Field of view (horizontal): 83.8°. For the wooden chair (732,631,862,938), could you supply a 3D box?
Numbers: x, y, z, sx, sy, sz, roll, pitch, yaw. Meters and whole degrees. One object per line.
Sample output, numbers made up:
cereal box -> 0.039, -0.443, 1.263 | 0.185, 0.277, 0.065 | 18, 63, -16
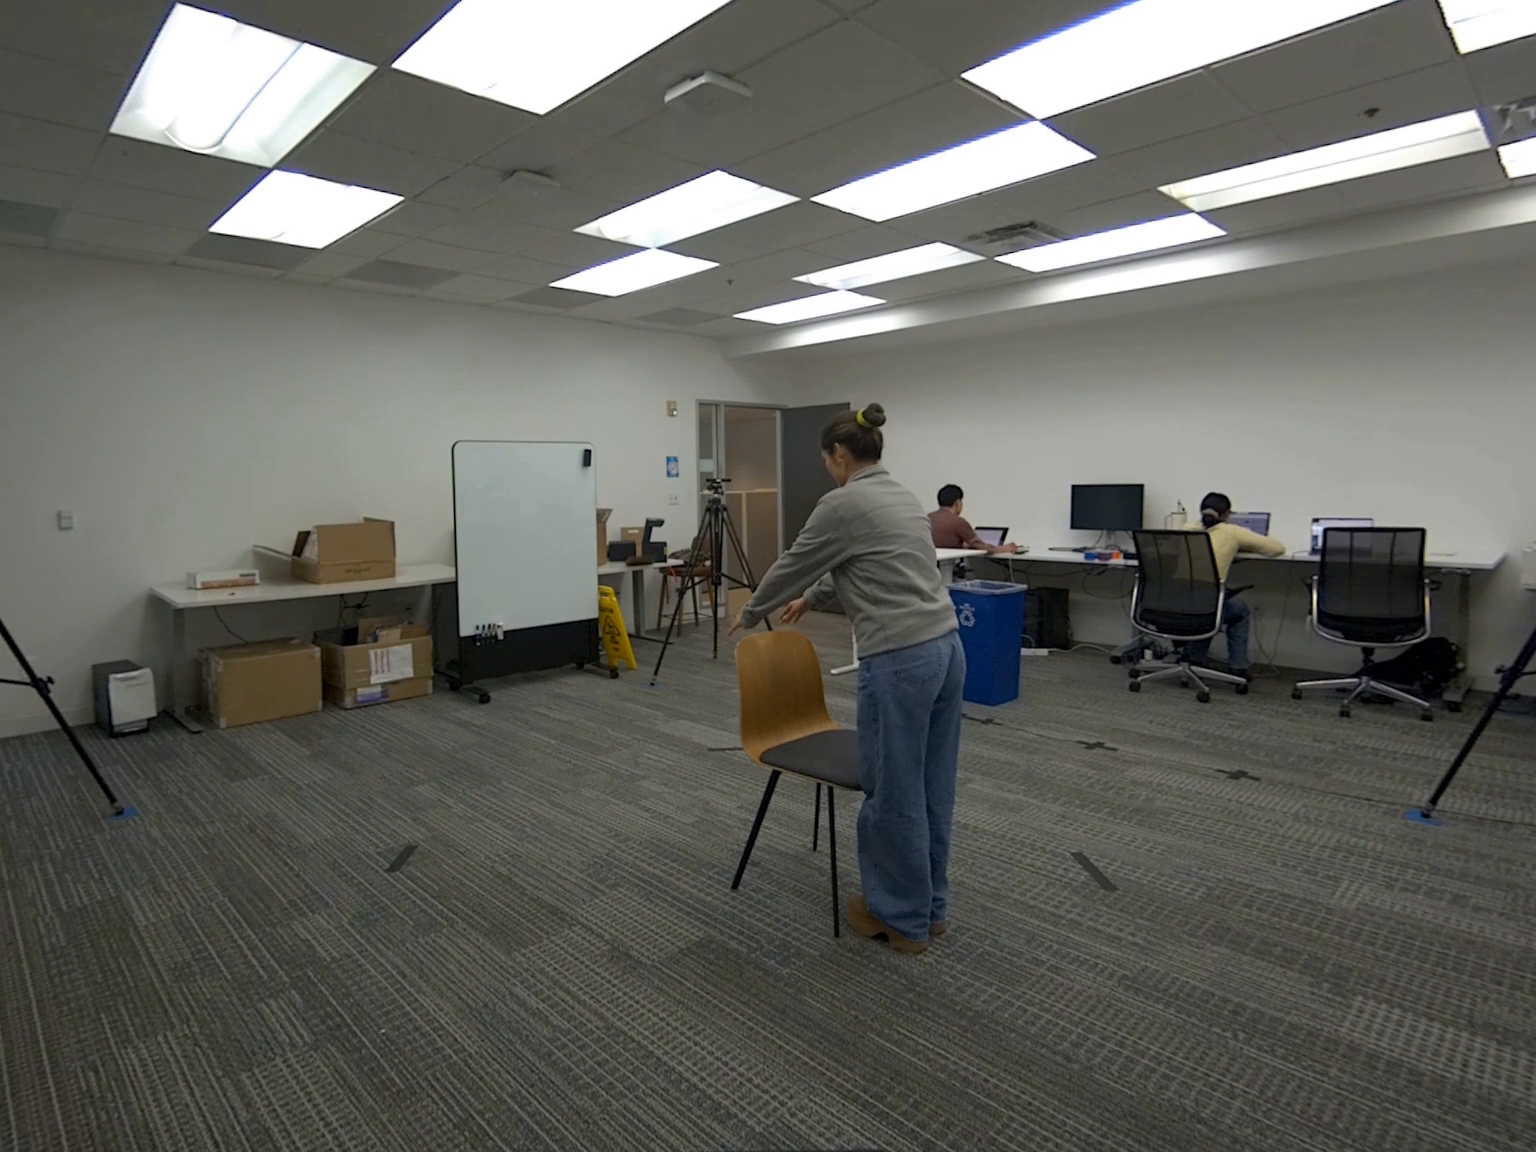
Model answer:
wooden chair -> 0.190, 0.640, 2.874 | 0.538, 0.876, 0.465 | -2, 2, 44
